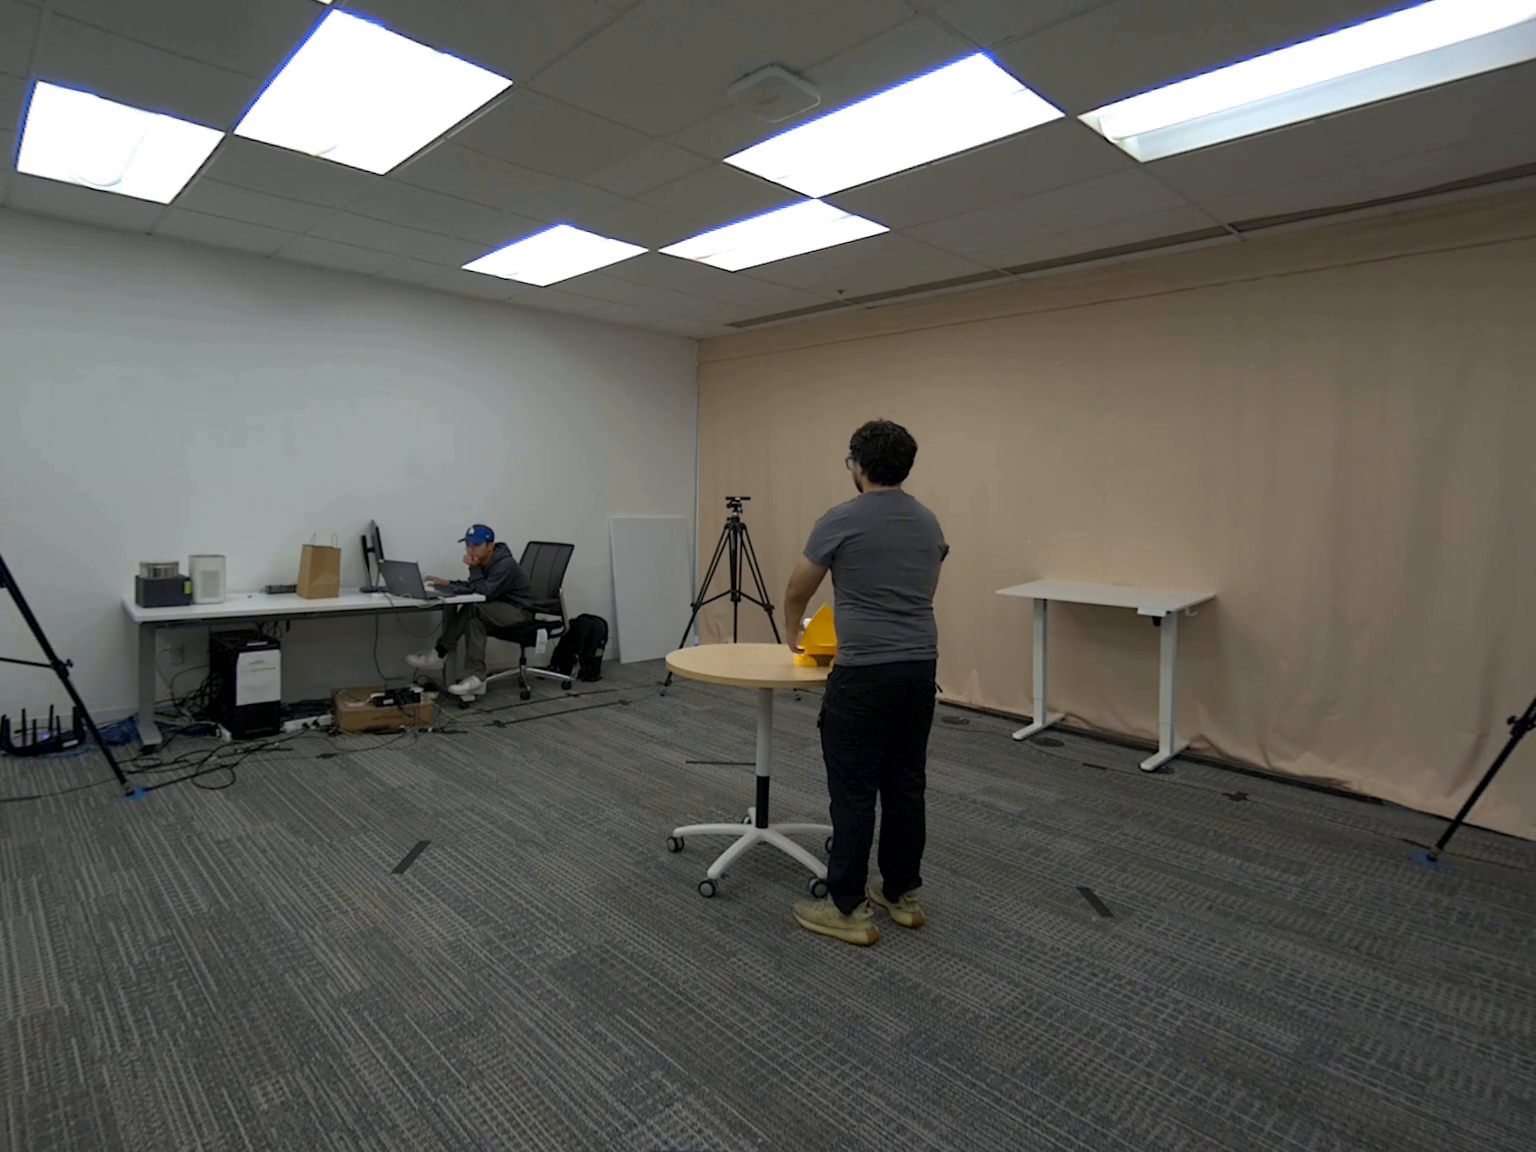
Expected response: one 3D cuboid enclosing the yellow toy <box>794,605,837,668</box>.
[{"bbox_3d":[0.191,0.211,3.153,0.204,0.230,0.194,1,6,-5],"label":"yellow toy"}]
